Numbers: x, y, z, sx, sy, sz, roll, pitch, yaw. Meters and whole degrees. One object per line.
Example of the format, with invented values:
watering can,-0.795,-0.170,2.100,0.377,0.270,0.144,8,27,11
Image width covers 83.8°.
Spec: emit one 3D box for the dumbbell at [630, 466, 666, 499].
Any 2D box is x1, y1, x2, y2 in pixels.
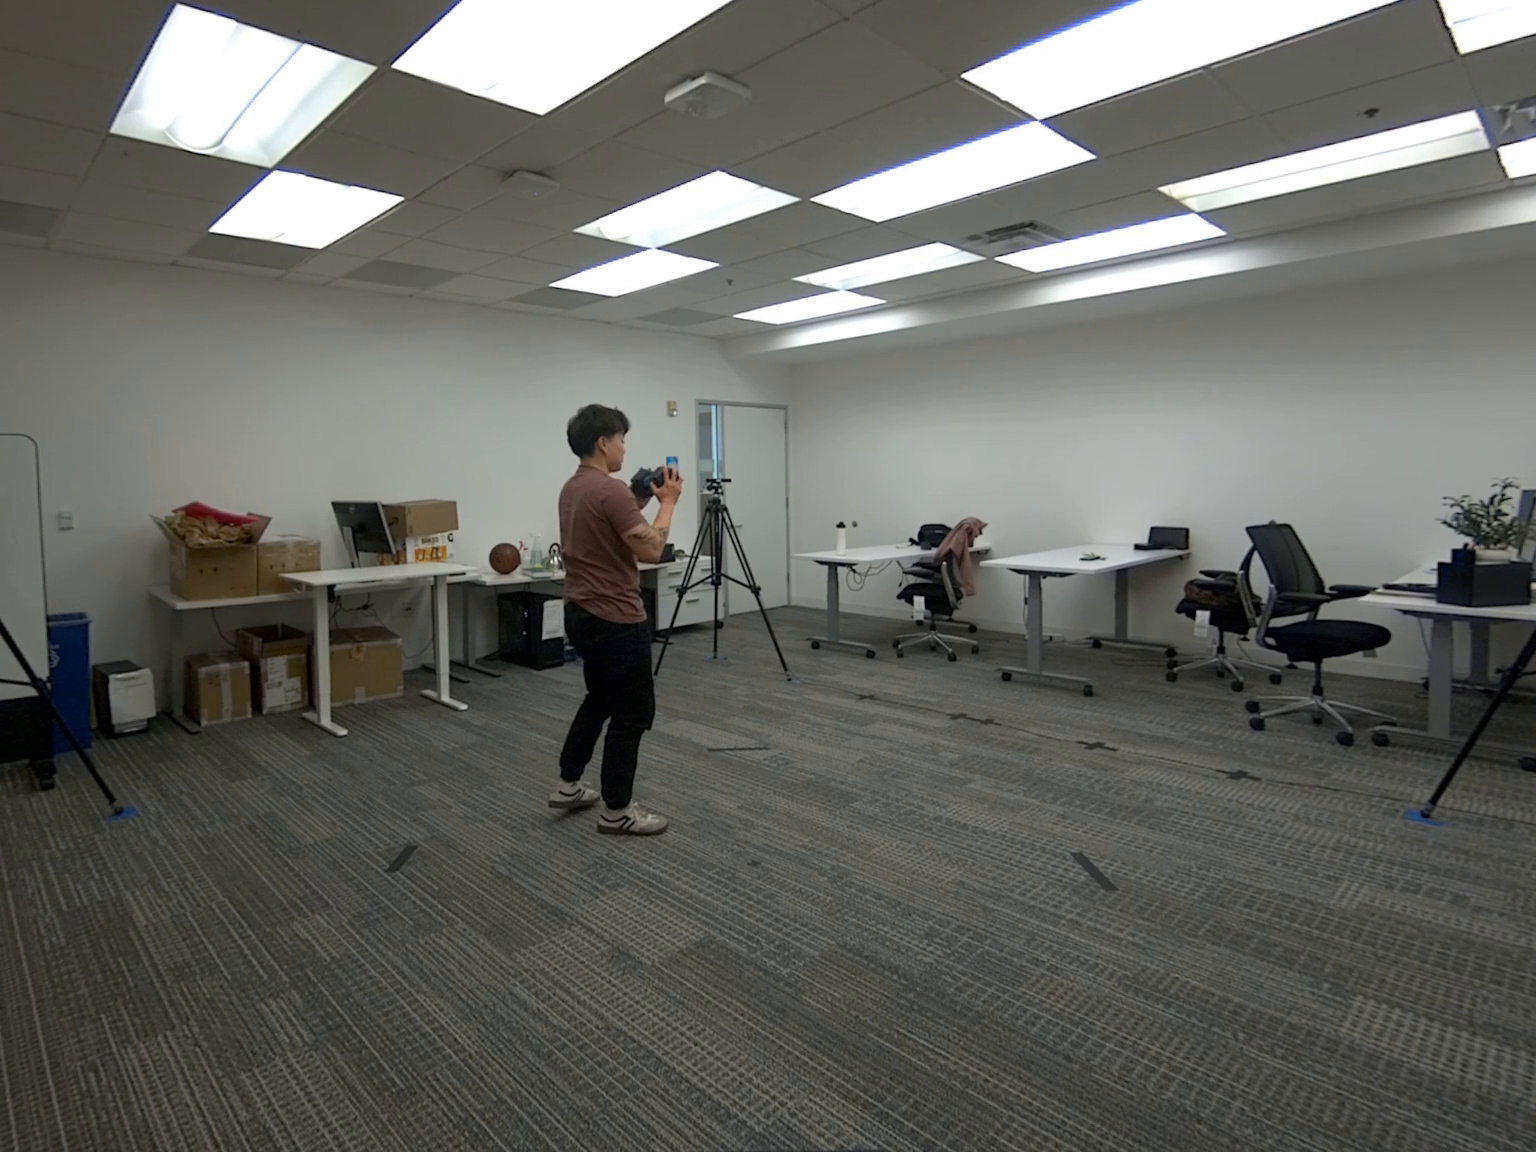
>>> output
dumbbell,-0.473,-0.370,3.503,0.120,0.109,0.301,11,-1,-27
